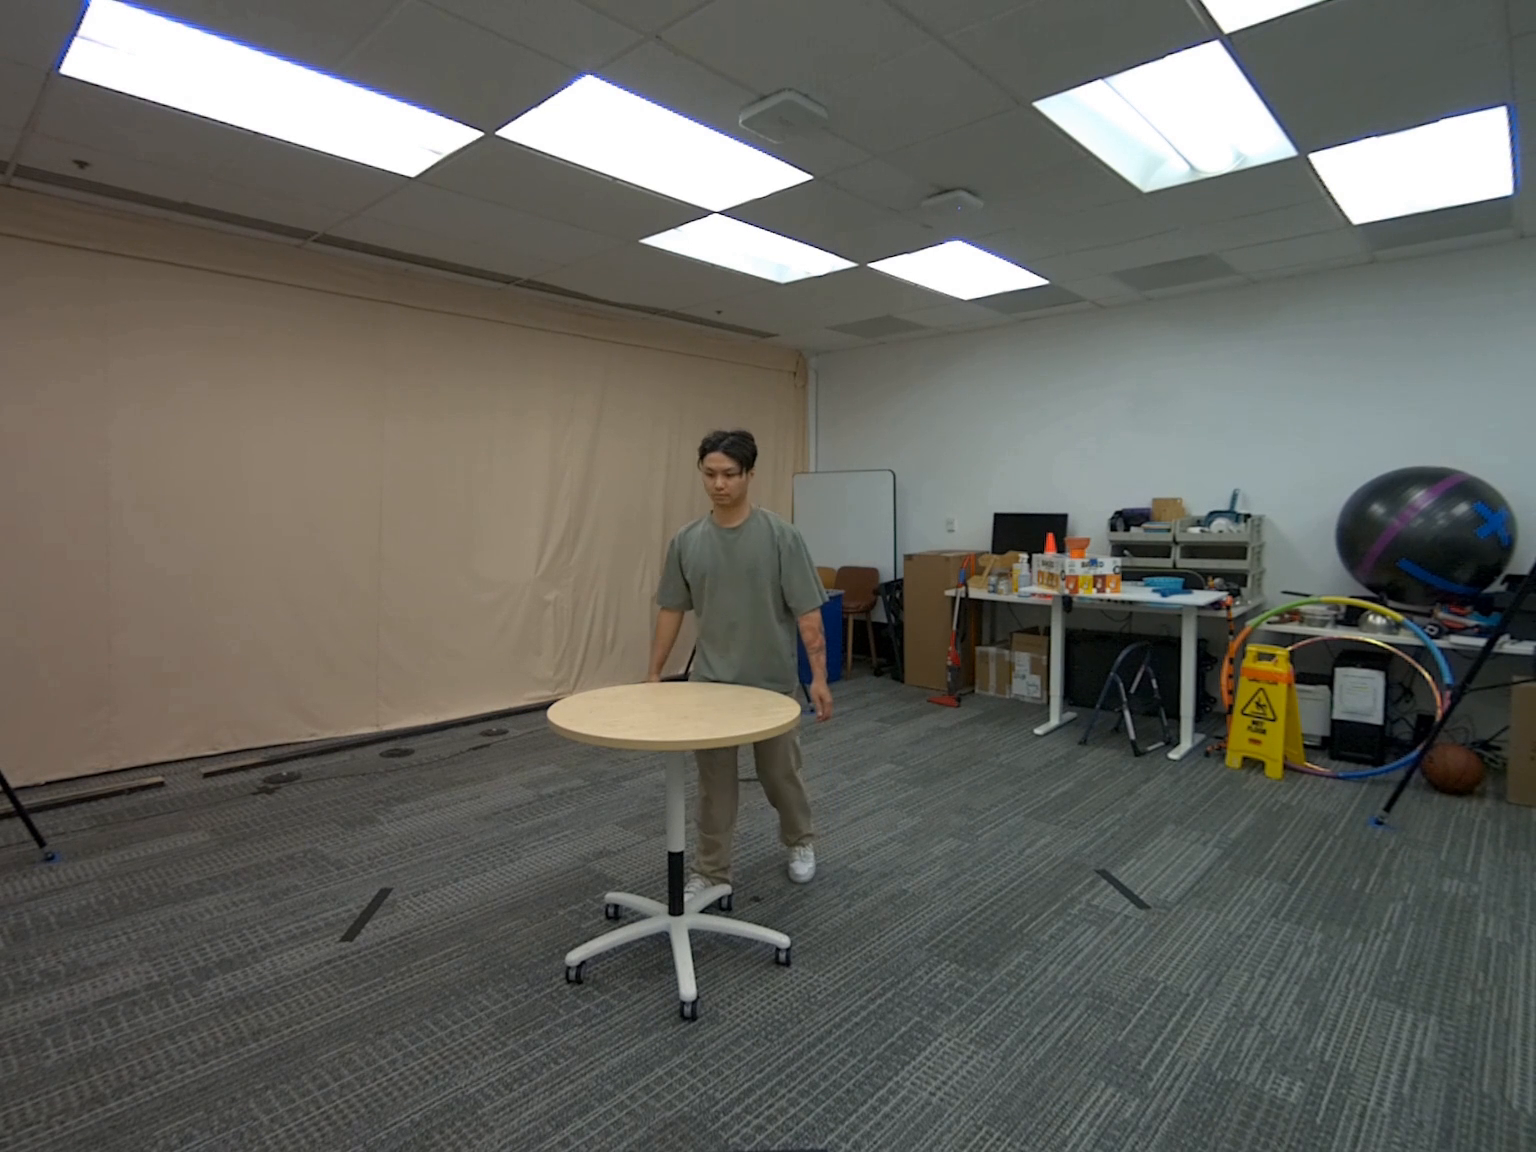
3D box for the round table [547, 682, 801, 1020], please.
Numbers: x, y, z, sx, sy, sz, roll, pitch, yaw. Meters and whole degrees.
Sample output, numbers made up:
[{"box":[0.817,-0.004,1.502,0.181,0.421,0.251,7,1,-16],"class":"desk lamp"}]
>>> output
[{"box":[-0.268,0.788,2.575,0.784,0.785,0.788,0,4,-2],"class":"round table"}]
